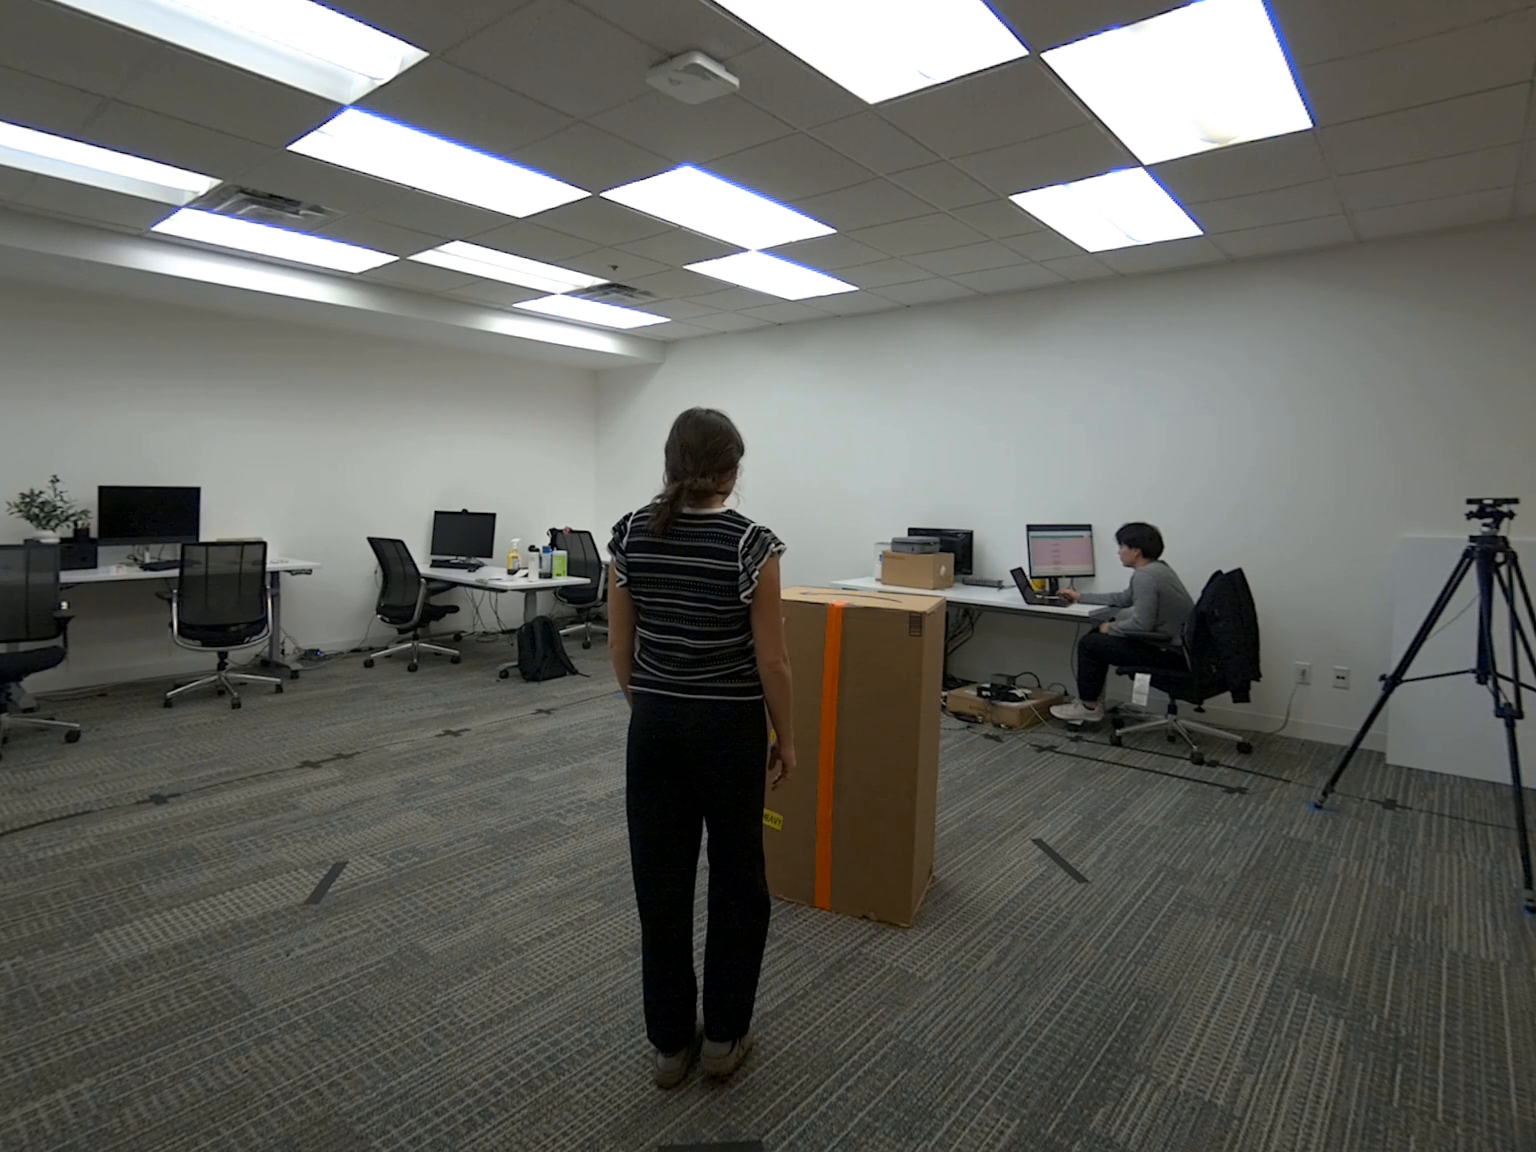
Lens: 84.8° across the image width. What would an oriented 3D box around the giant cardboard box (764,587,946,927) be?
[{"bbox_3d":[0.276,0.581,2.988,0.592,1.022,0.417,3,4,24],"label":"giant cardboard box"}]
